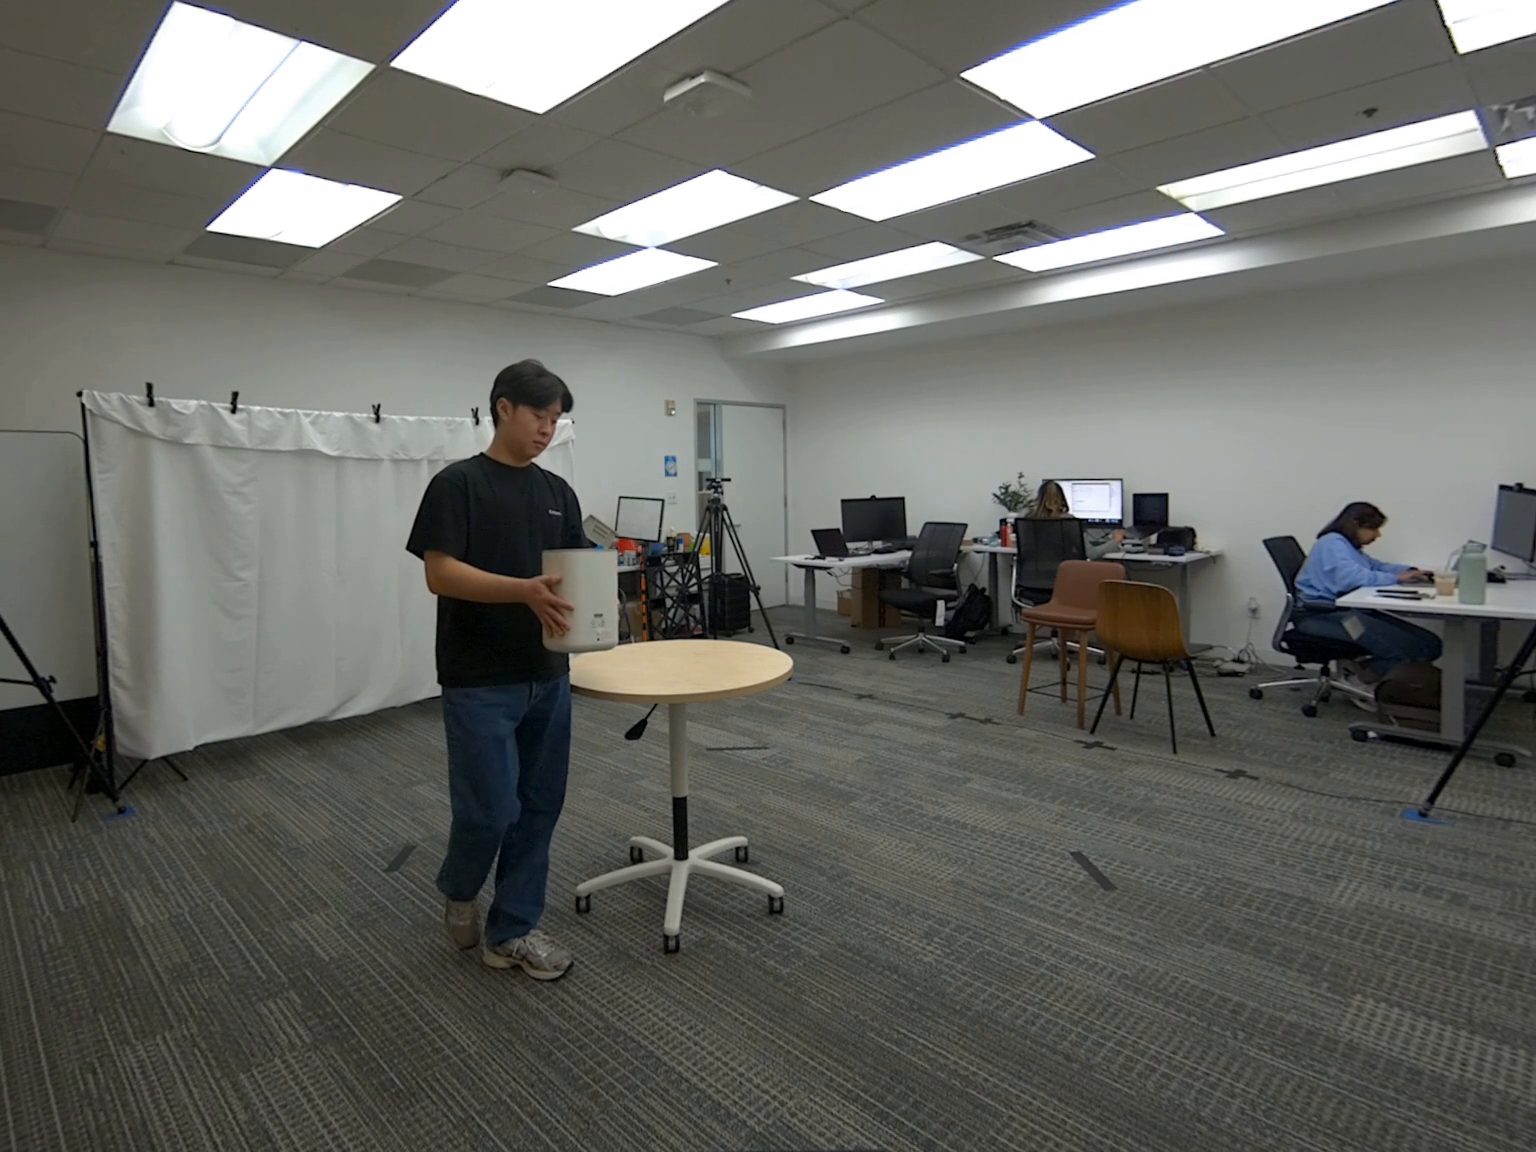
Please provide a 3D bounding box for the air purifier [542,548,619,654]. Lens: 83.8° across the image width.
[{"bbox_3d":[-0.498,0.063,2.252,0.176,0.266,0.166,-2,-2,45],"label":"air purifier"}]
